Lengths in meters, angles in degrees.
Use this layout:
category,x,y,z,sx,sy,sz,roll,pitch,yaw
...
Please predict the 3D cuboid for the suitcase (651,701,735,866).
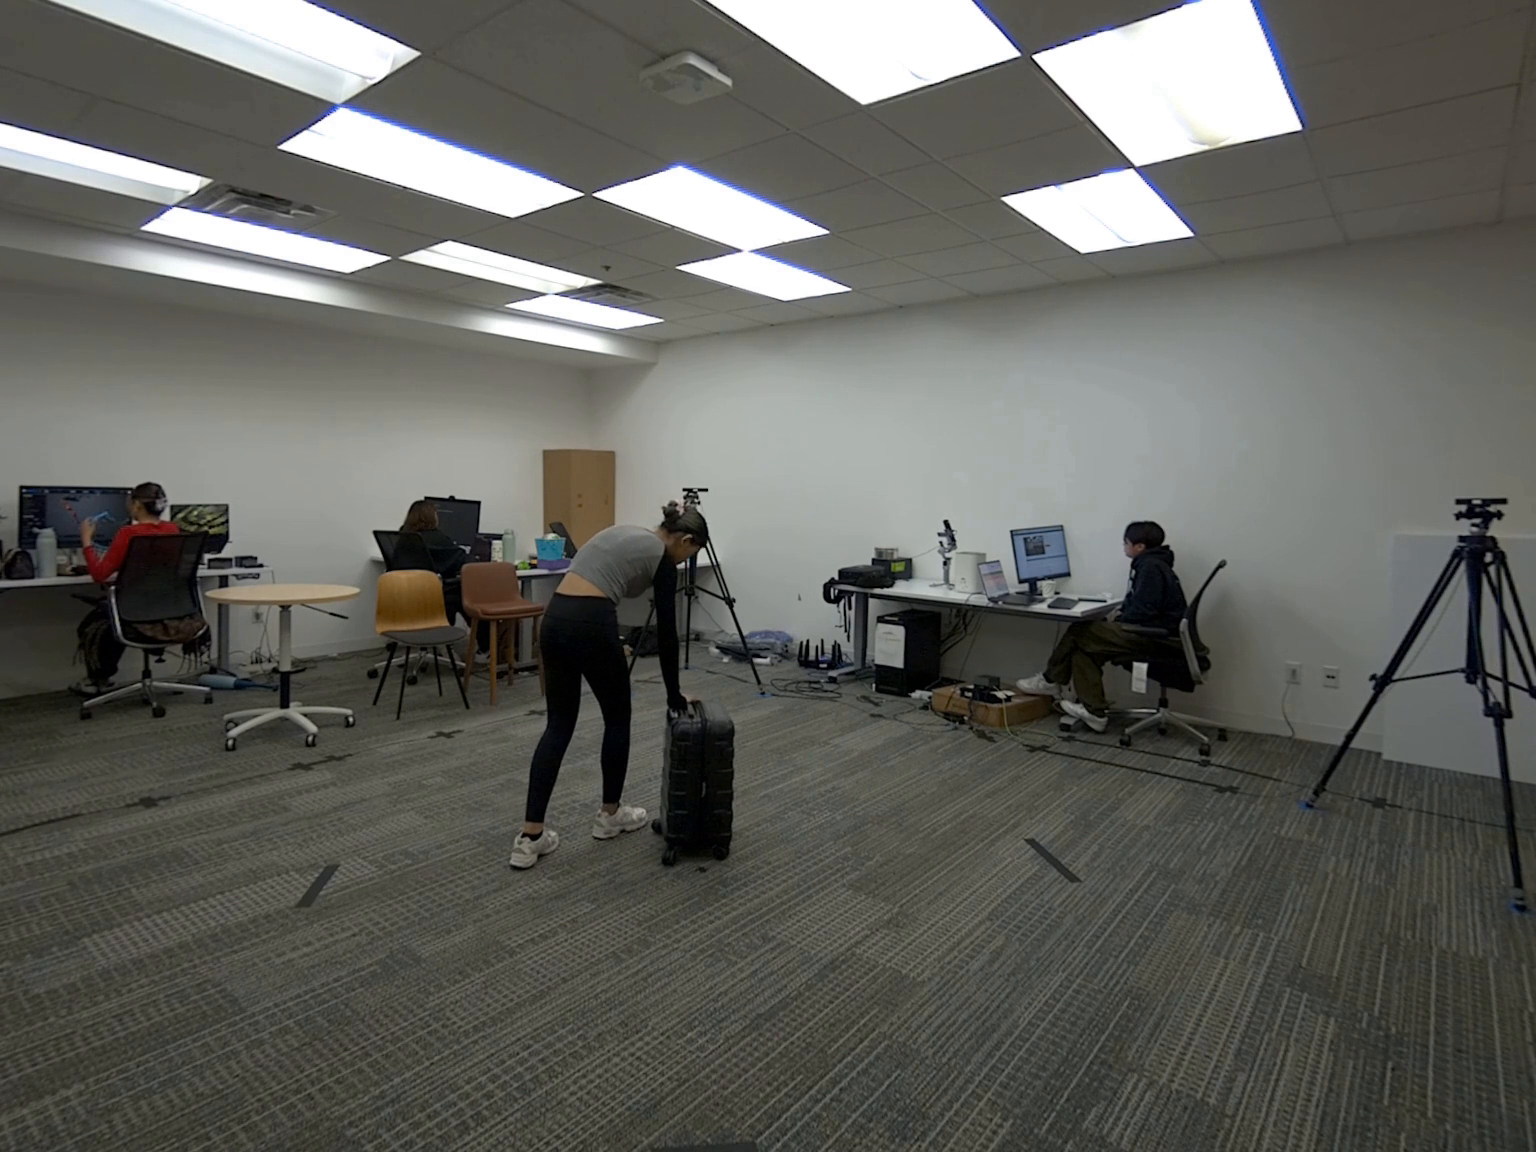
category,x,y,z,sx,sy,sz,roll,pitch,yaw
suitcase,-0.293,0.773,3.313,0.245,0.548,0.381,2,3,-14
